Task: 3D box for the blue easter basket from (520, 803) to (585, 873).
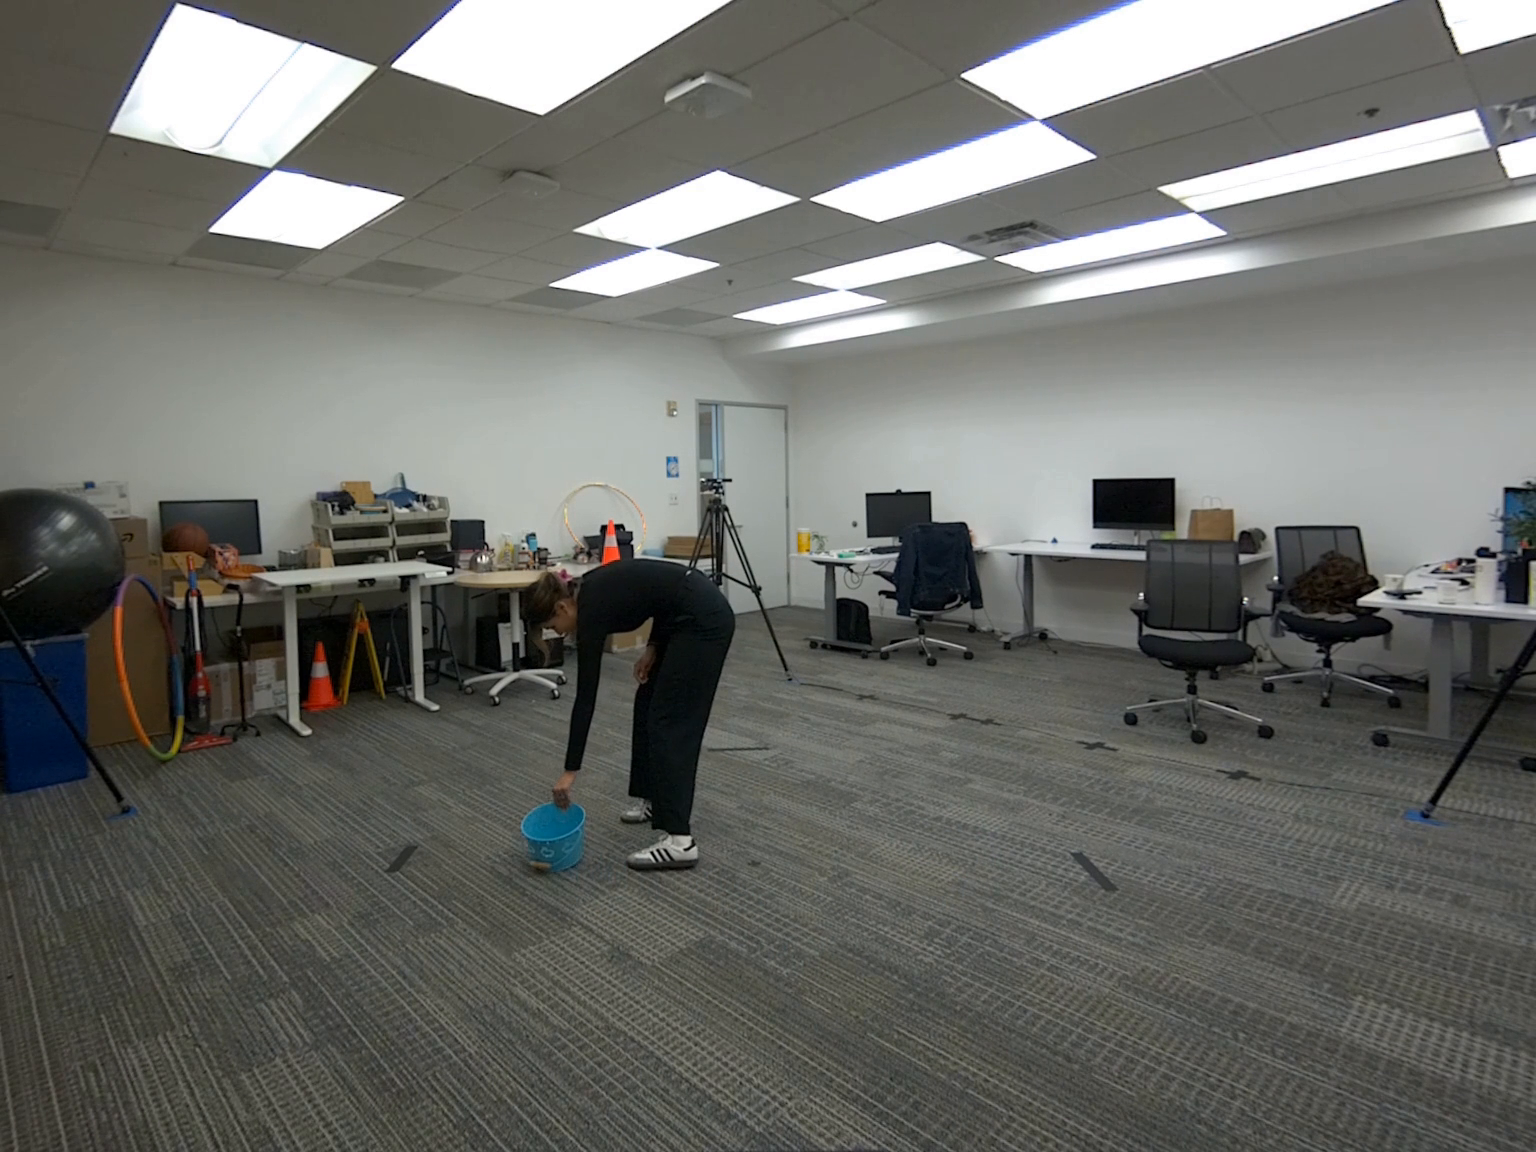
[{"bbox_3d":[-0.783,0.962,3.129,0.243,0.153,0.248,-3,19,-1],"label":"blue easter basket"}]
